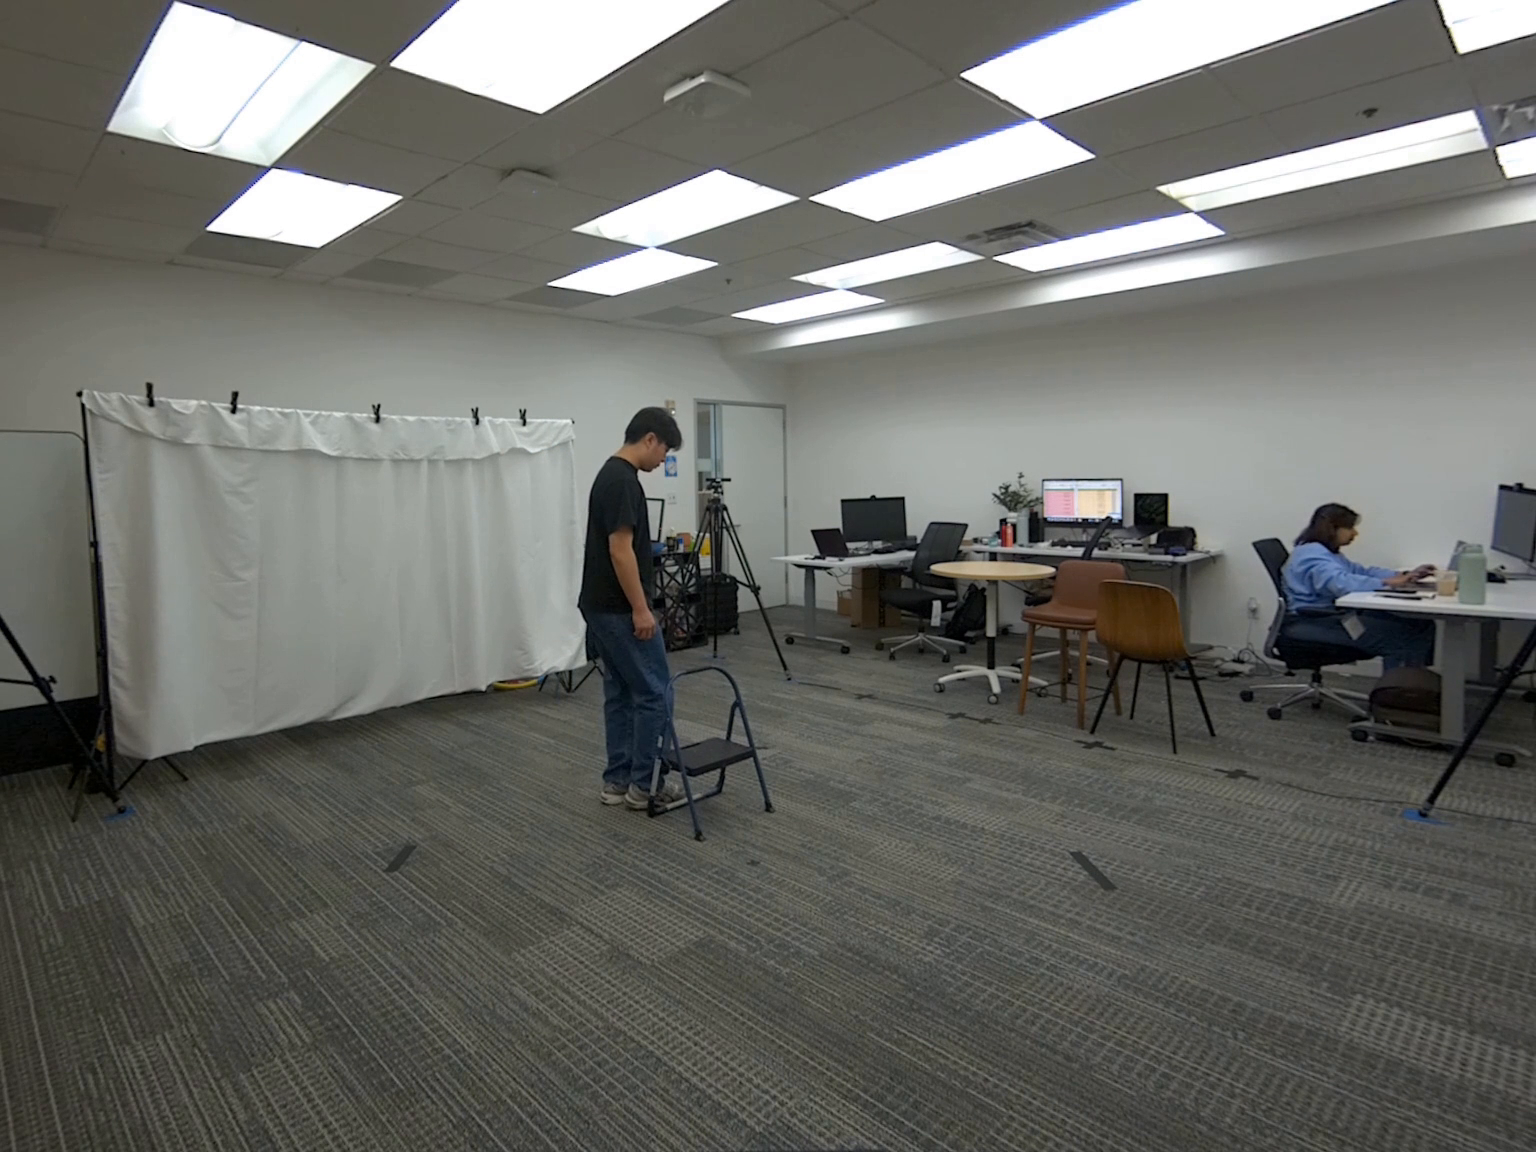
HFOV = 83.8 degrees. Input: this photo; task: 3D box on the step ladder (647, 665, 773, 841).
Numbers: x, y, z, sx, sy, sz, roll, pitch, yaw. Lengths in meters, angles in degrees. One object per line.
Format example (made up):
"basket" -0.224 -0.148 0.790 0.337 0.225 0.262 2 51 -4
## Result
"step ladder" -0.241 0.693 3.544 0.419 0.604 0.360 -5 6 -44
